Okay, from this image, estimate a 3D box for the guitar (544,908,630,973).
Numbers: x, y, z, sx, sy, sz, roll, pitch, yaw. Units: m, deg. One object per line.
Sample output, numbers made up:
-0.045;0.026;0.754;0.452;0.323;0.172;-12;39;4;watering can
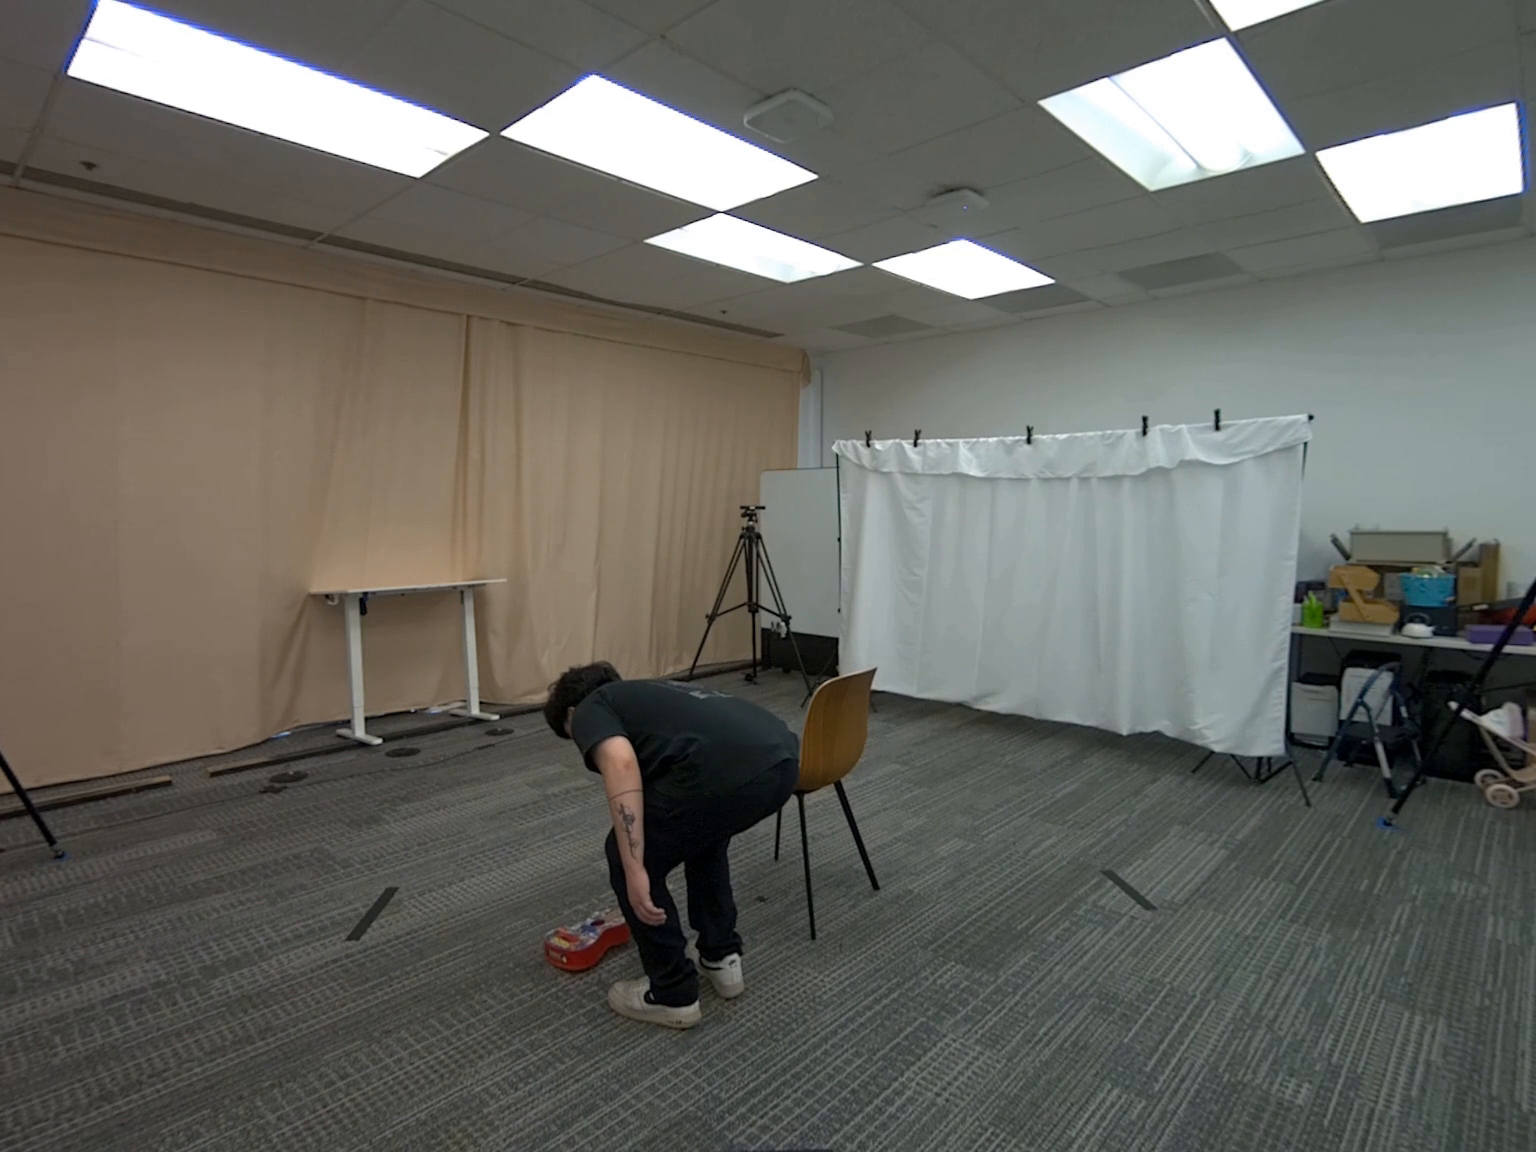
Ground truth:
-0.473;1.116;2.704;0.484;0.070;0.199;-9;4;-40;guitar
